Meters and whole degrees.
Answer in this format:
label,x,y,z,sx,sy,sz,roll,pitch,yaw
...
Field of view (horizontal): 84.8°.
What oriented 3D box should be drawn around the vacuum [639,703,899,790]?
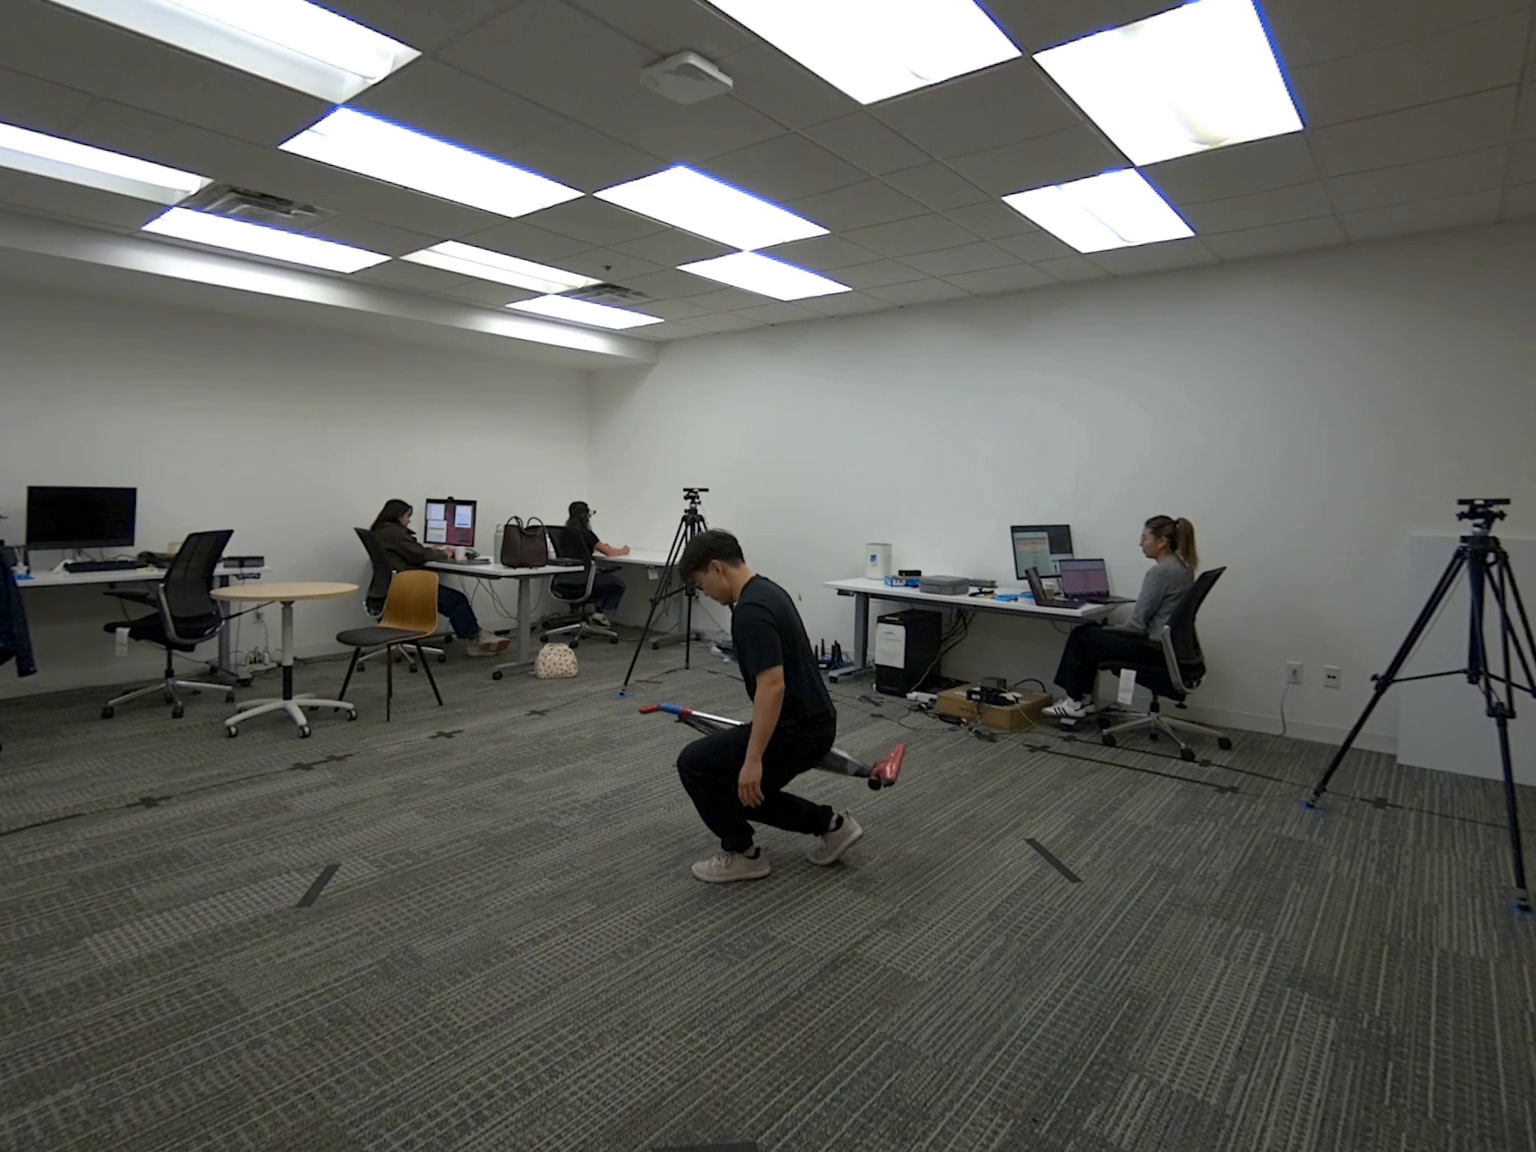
label,x,y,z,sx,sy,sz,roll,pitch,yaw
vacuum,-0.051,0.658,3.444,1.072,0.141,0.252,10,25,18
